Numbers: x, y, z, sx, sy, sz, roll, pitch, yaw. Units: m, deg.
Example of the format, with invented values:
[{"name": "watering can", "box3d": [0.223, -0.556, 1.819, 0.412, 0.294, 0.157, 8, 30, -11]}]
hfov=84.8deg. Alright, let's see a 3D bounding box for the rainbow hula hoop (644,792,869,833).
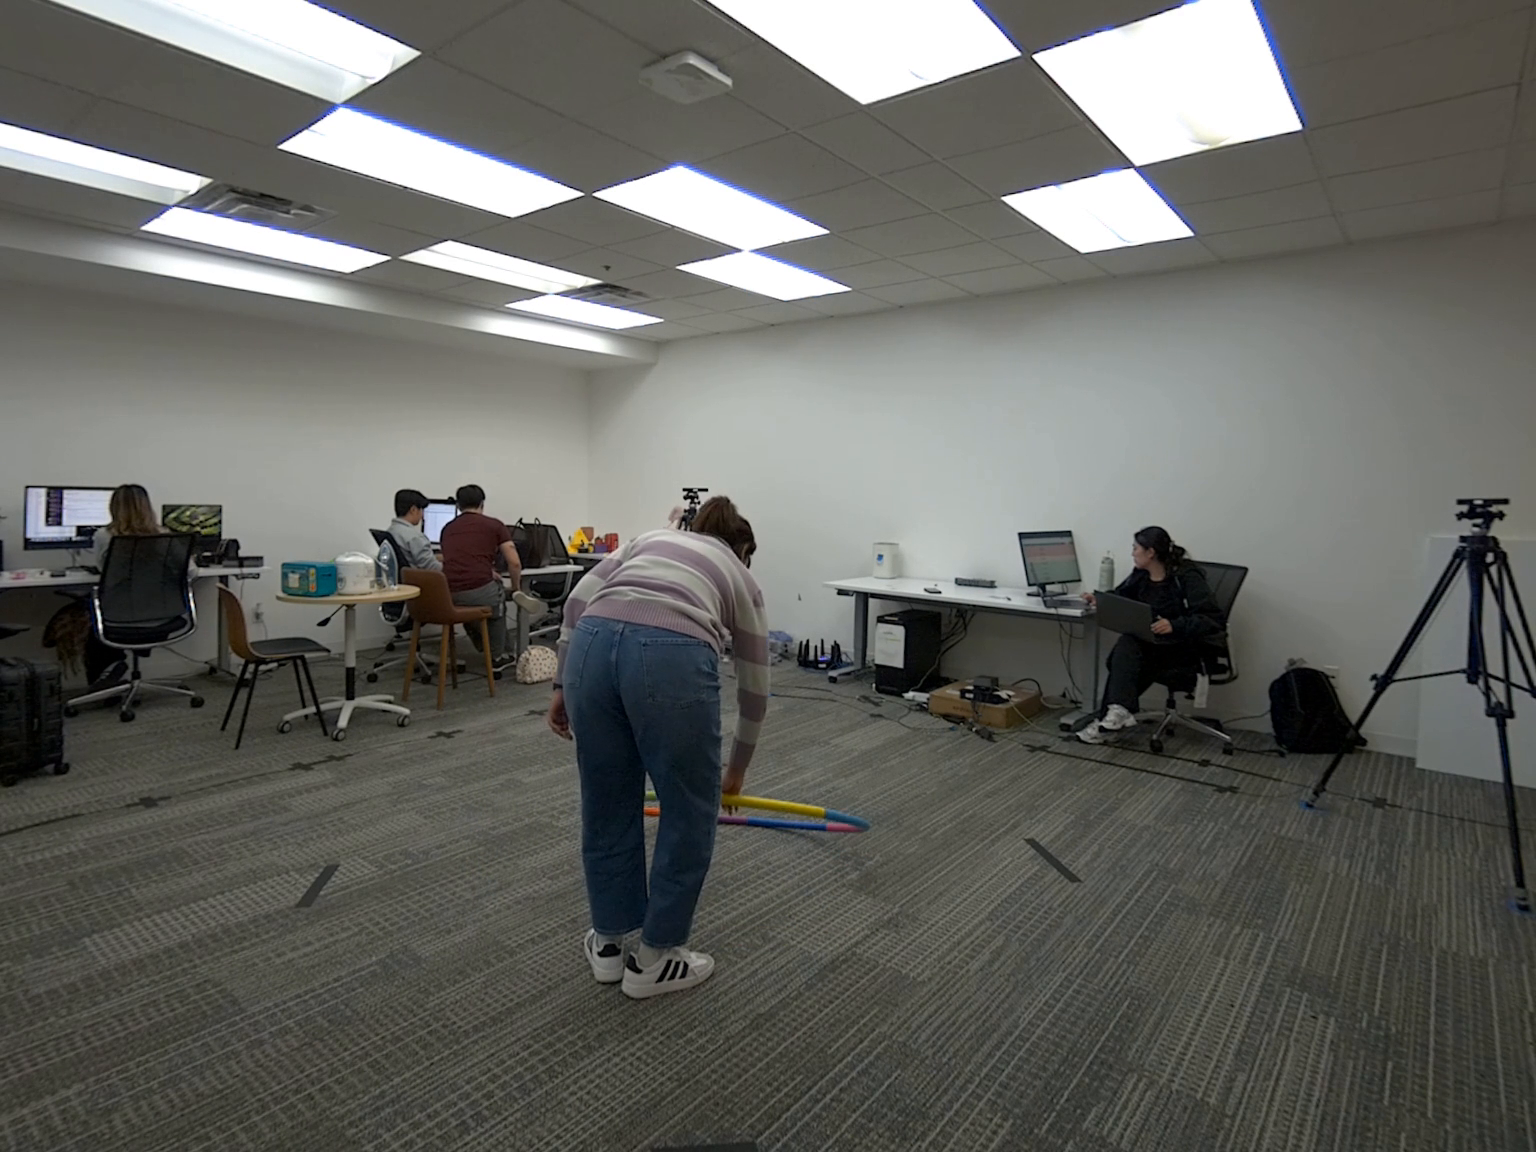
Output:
[{"name": "rainbow hula hoop", "box3d": [-0.142, 0.858, 3.103, 0.980, 0.036, 0.962, 5, -19, 0]}]
